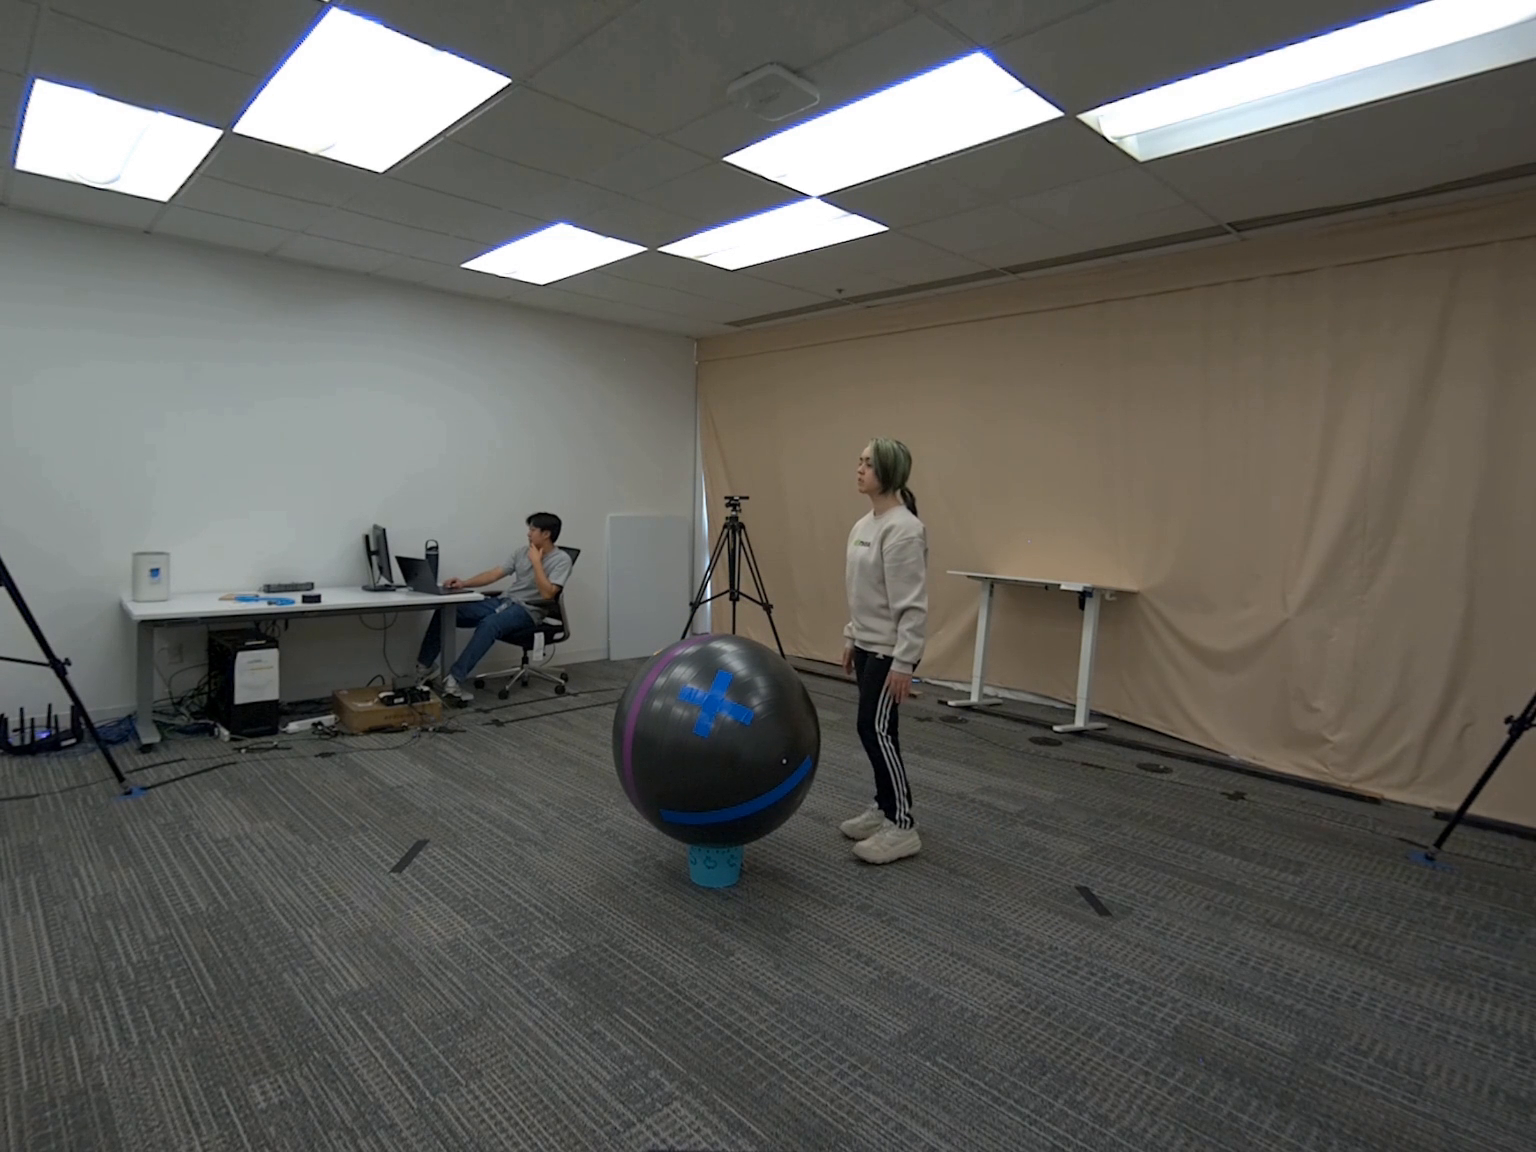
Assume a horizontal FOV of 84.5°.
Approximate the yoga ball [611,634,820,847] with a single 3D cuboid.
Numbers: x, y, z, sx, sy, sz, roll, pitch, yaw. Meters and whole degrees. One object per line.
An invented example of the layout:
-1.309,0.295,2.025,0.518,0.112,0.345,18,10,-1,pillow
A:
-0.189,0.592,3.065,0.757,0.756,0.761,1,4,-1,yoga ball
